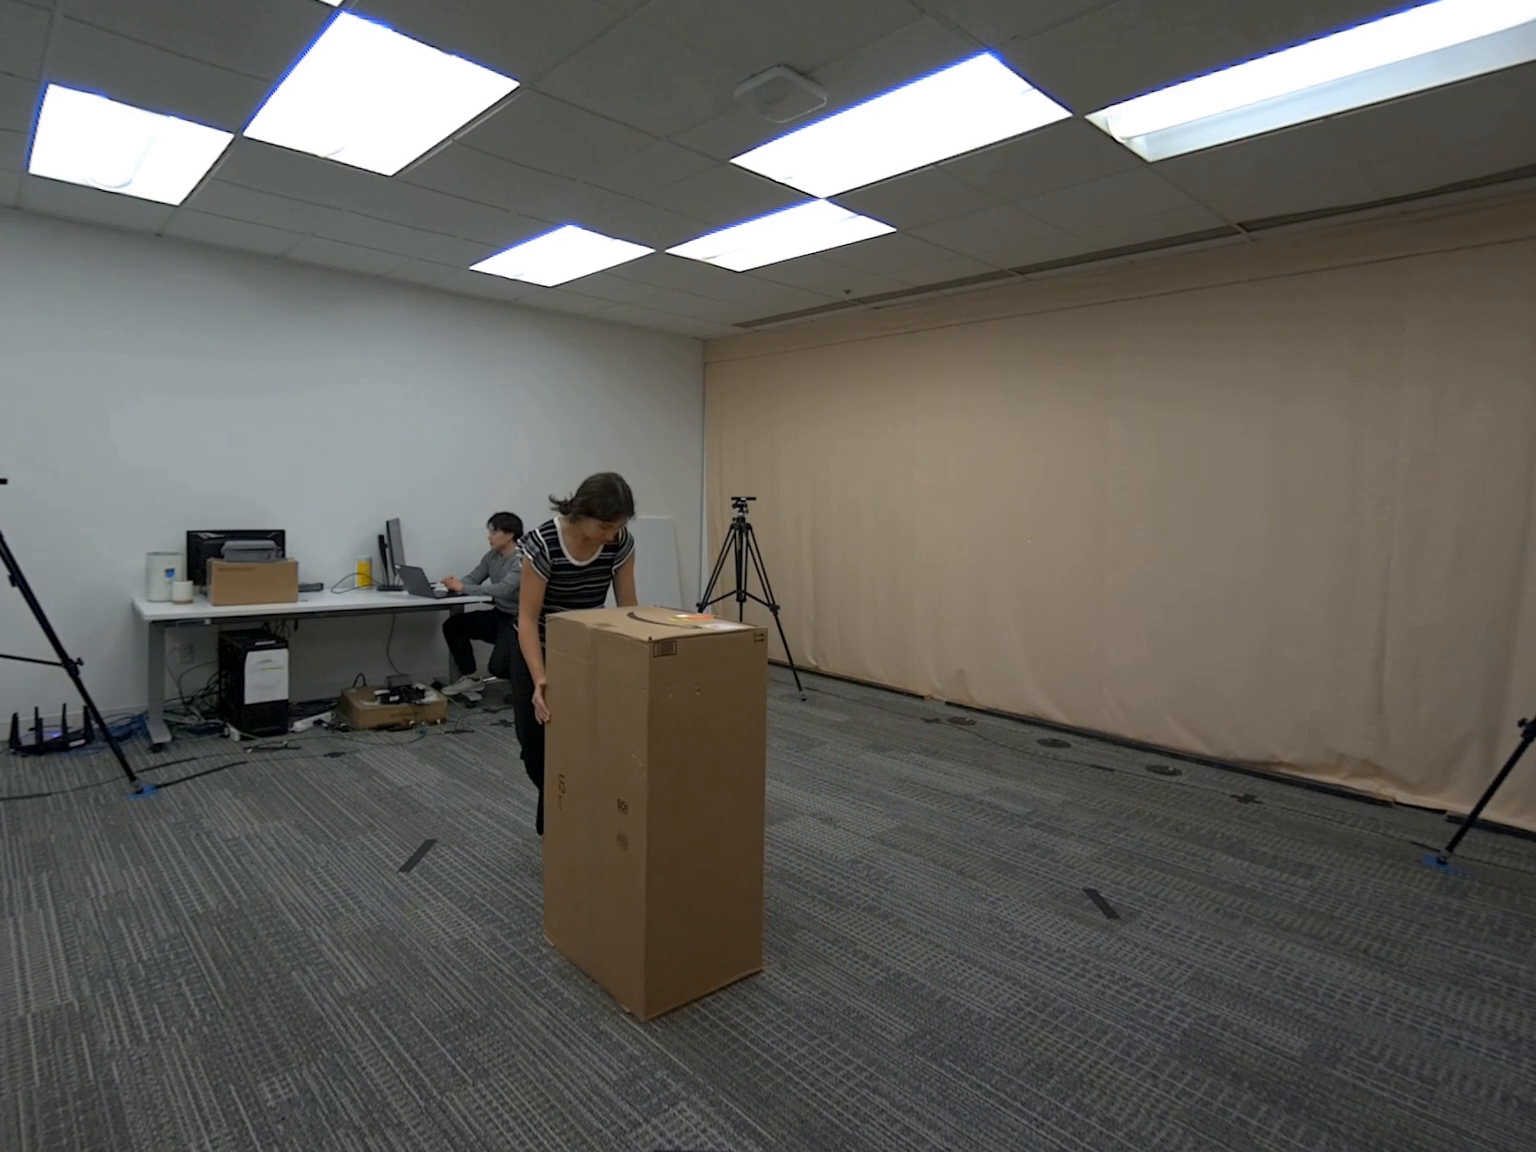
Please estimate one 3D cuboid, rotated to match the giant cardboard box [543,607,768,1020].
[{"bbox_3d":[-0.355,0.646,2.541,0.416,1.024,0.592,-1,4,-41],"label":"giant cardboard box"}]
